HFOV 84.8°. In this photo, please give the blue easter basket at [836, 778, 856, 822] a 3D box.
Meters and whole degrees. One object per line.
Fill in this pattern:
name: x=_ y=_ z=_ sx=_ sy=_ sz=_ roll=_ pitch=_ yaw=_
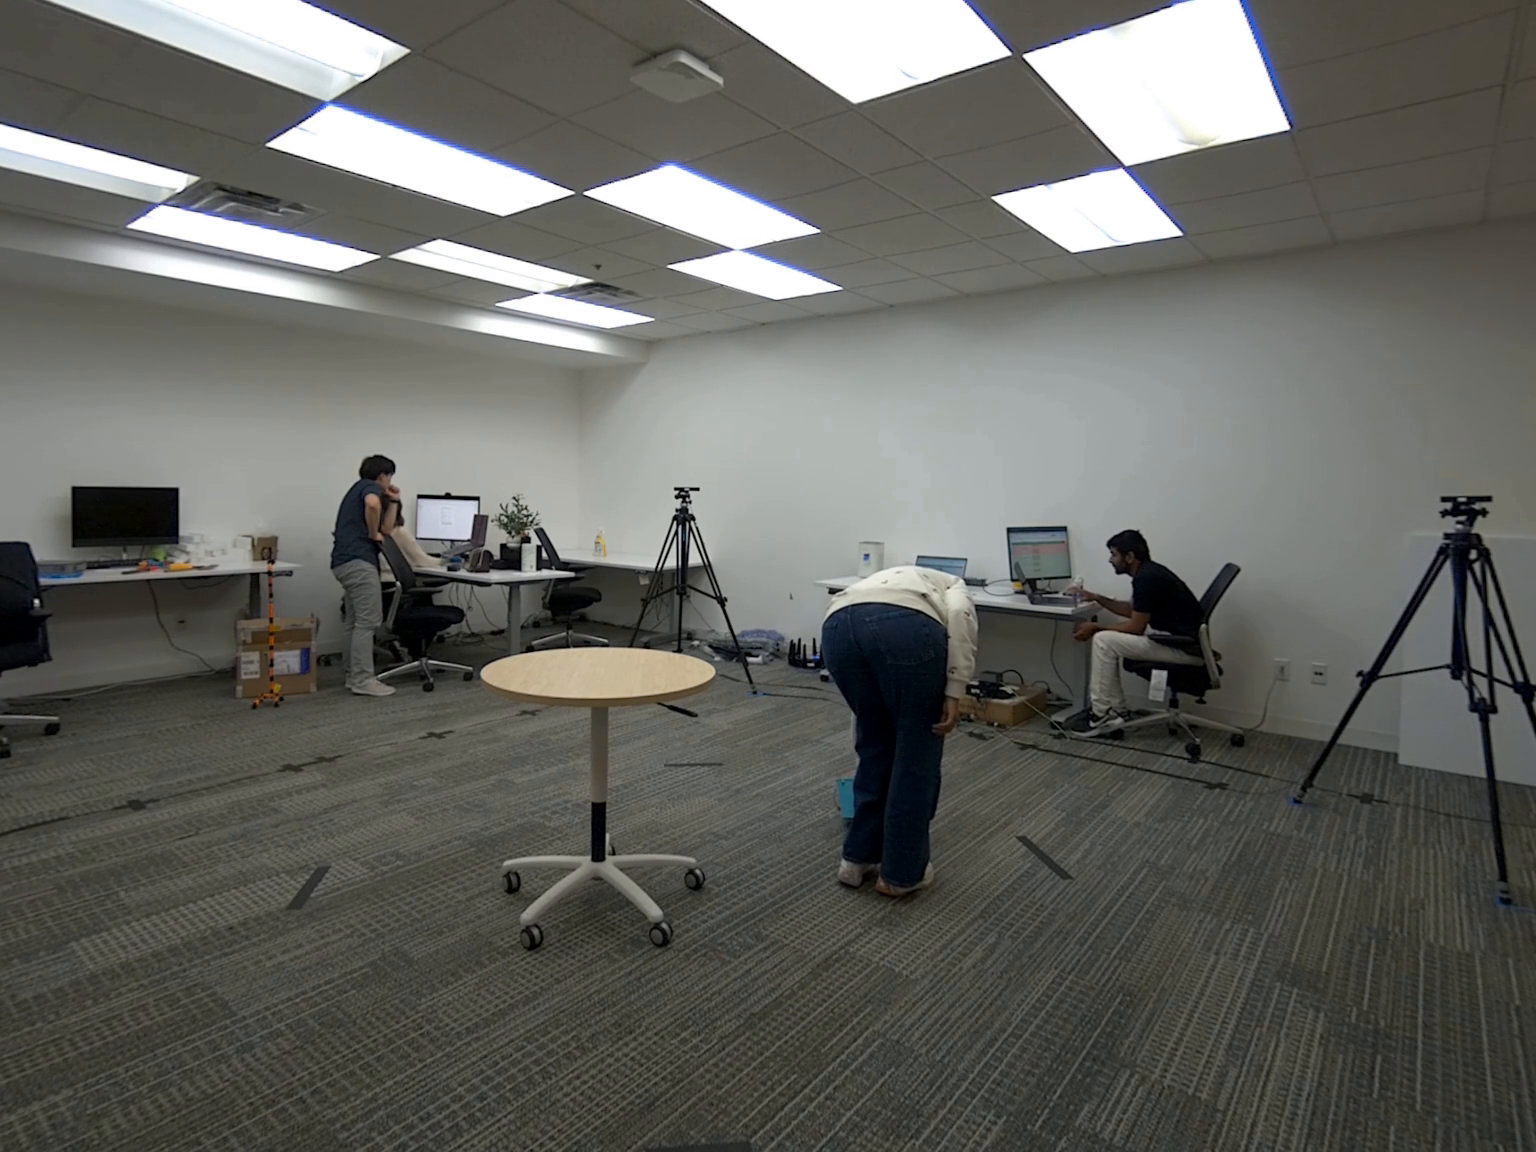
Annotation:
blue easter basket: x=0.398 y=0.927 z=3.545 sx=0.243 sy=0.158 sz=0.240 roll=2 pitch=-16 yaw=-1
